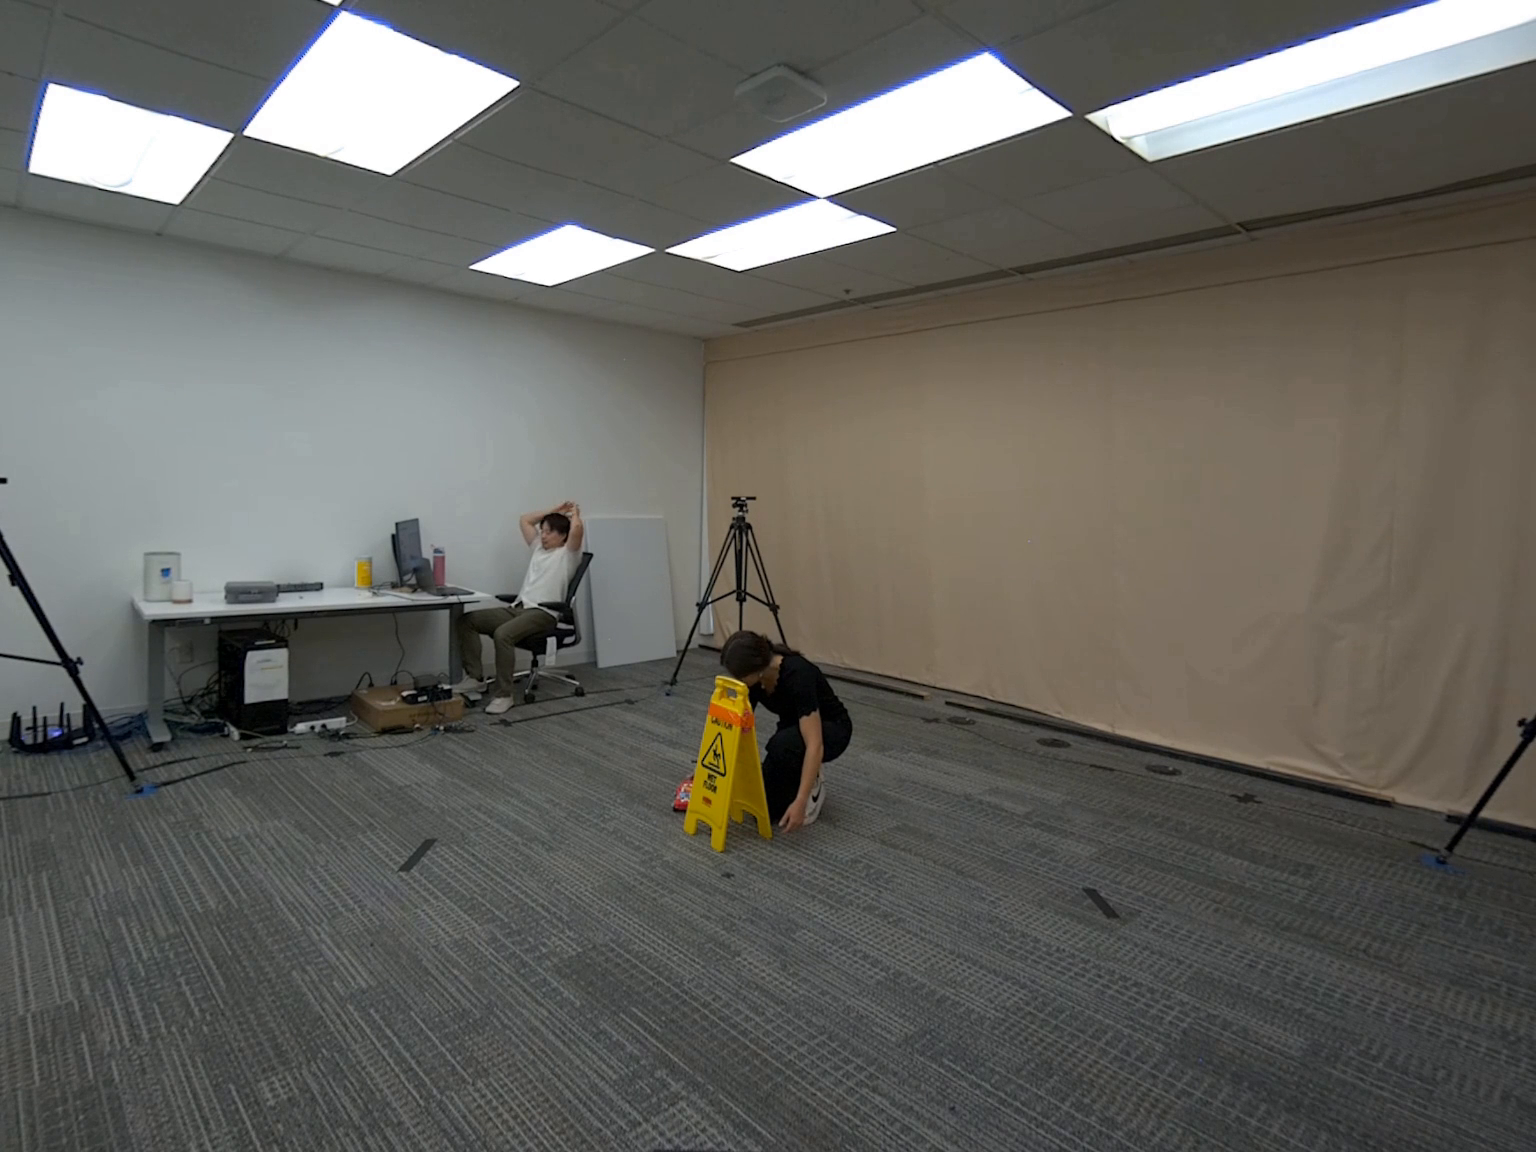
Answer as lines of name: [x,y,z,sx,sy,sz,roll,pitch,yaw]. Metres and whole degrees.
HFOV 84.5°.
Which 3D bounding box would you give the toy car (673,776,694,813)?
toy car: [-0.371,1.000,3.833,0.130,0.082,0.257,1,16,-2]
